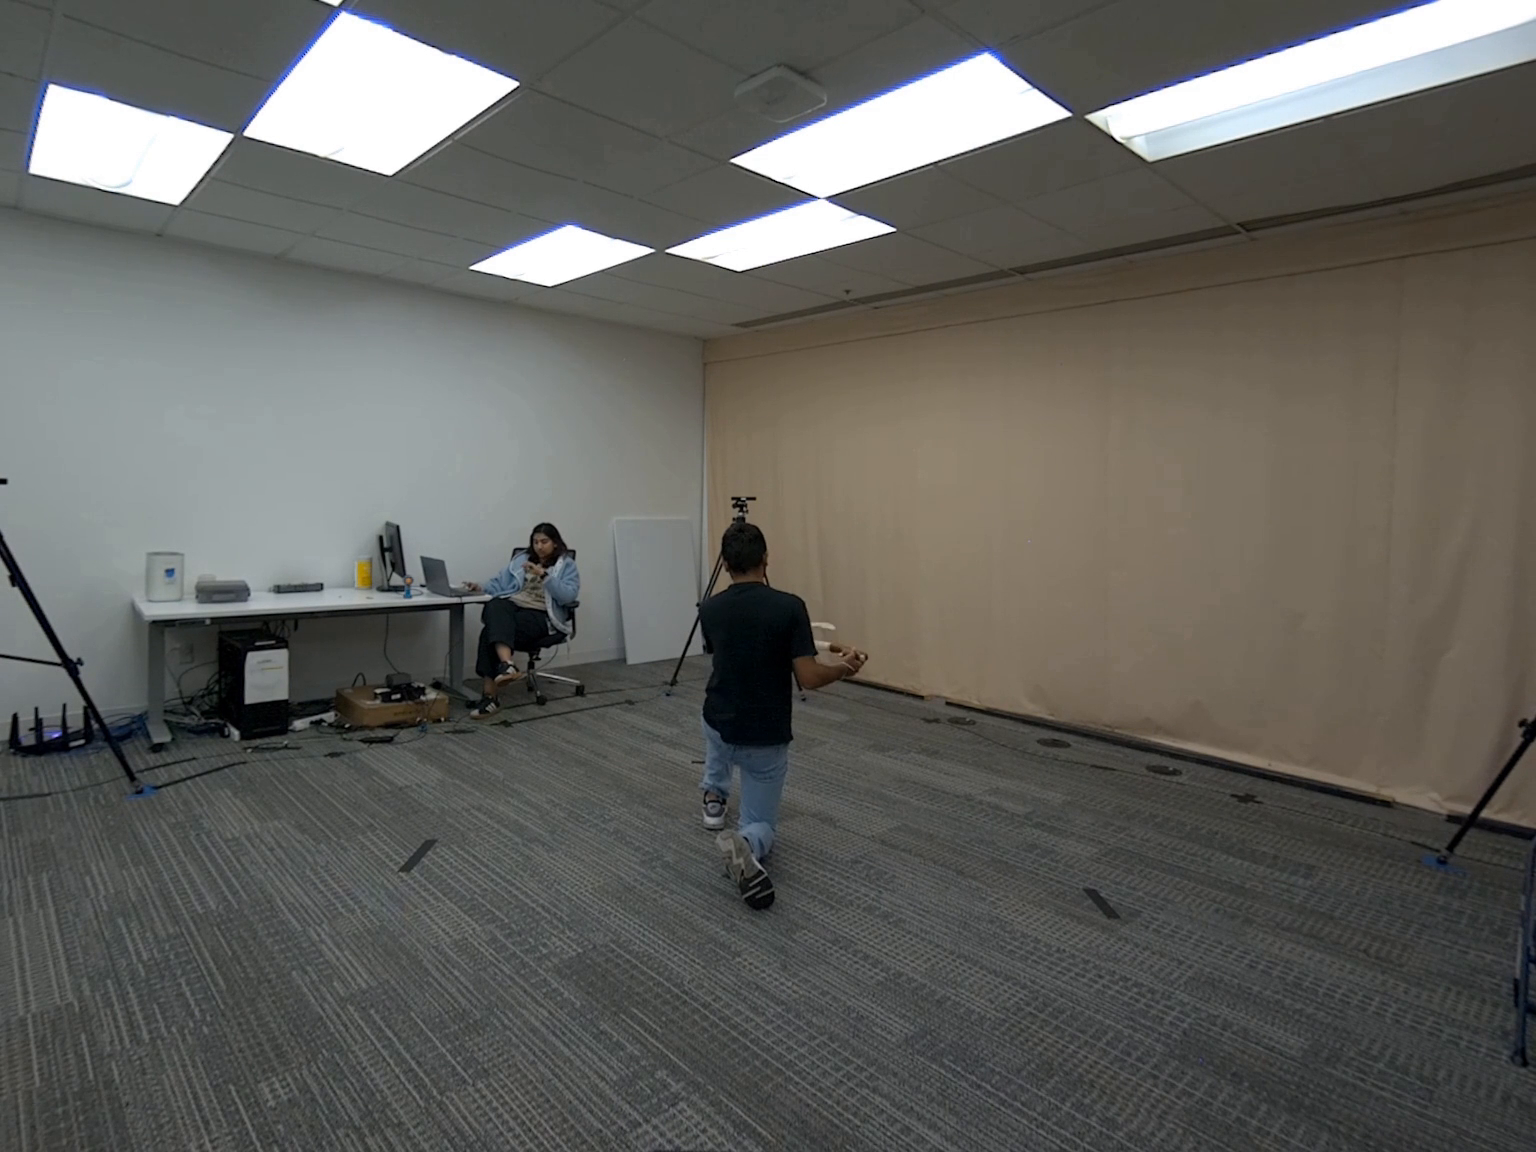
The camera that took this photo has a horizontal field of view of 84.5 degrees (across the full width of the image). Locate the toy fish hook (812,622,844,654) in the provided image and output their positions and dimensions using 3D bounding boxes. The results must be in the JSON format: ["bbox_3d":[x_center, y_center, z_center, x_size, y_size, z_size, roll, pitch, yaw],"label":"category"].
[{"bbox_3d":[0.247,0.281,3.649,0.223,0.047,0.520,-32,28,-32],"label":"toy fish hook"}]
